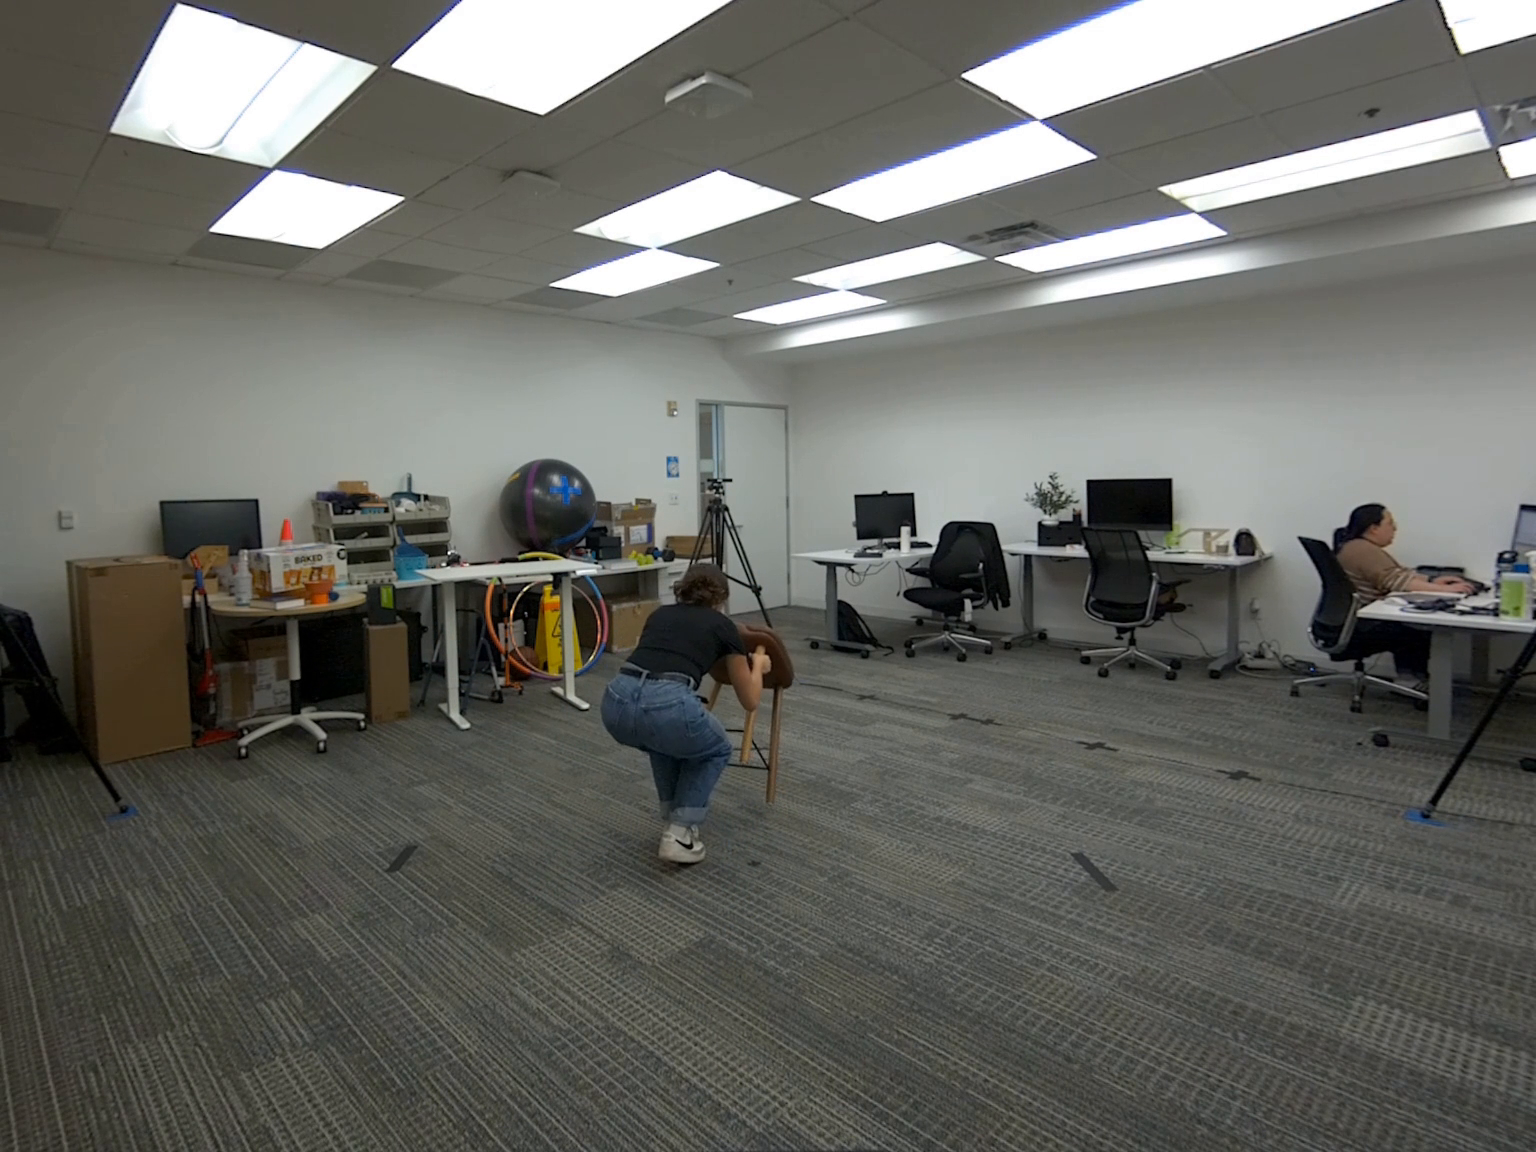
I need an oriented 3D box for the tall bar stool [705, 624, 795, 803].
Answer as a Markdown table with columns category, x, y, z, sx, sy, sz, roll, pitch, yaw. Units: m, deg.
| category | x | y | z | sx | sy | sz | roll | pitch | yaw |
| --- | --- | --- | --- | --- | --- | --- | --- | --- | --- |
| tall bar stool | -0.154 | 0.473 | 3.696 | 0.476 | 0.906 | 0.440 | -2 | -40 | 19 |
